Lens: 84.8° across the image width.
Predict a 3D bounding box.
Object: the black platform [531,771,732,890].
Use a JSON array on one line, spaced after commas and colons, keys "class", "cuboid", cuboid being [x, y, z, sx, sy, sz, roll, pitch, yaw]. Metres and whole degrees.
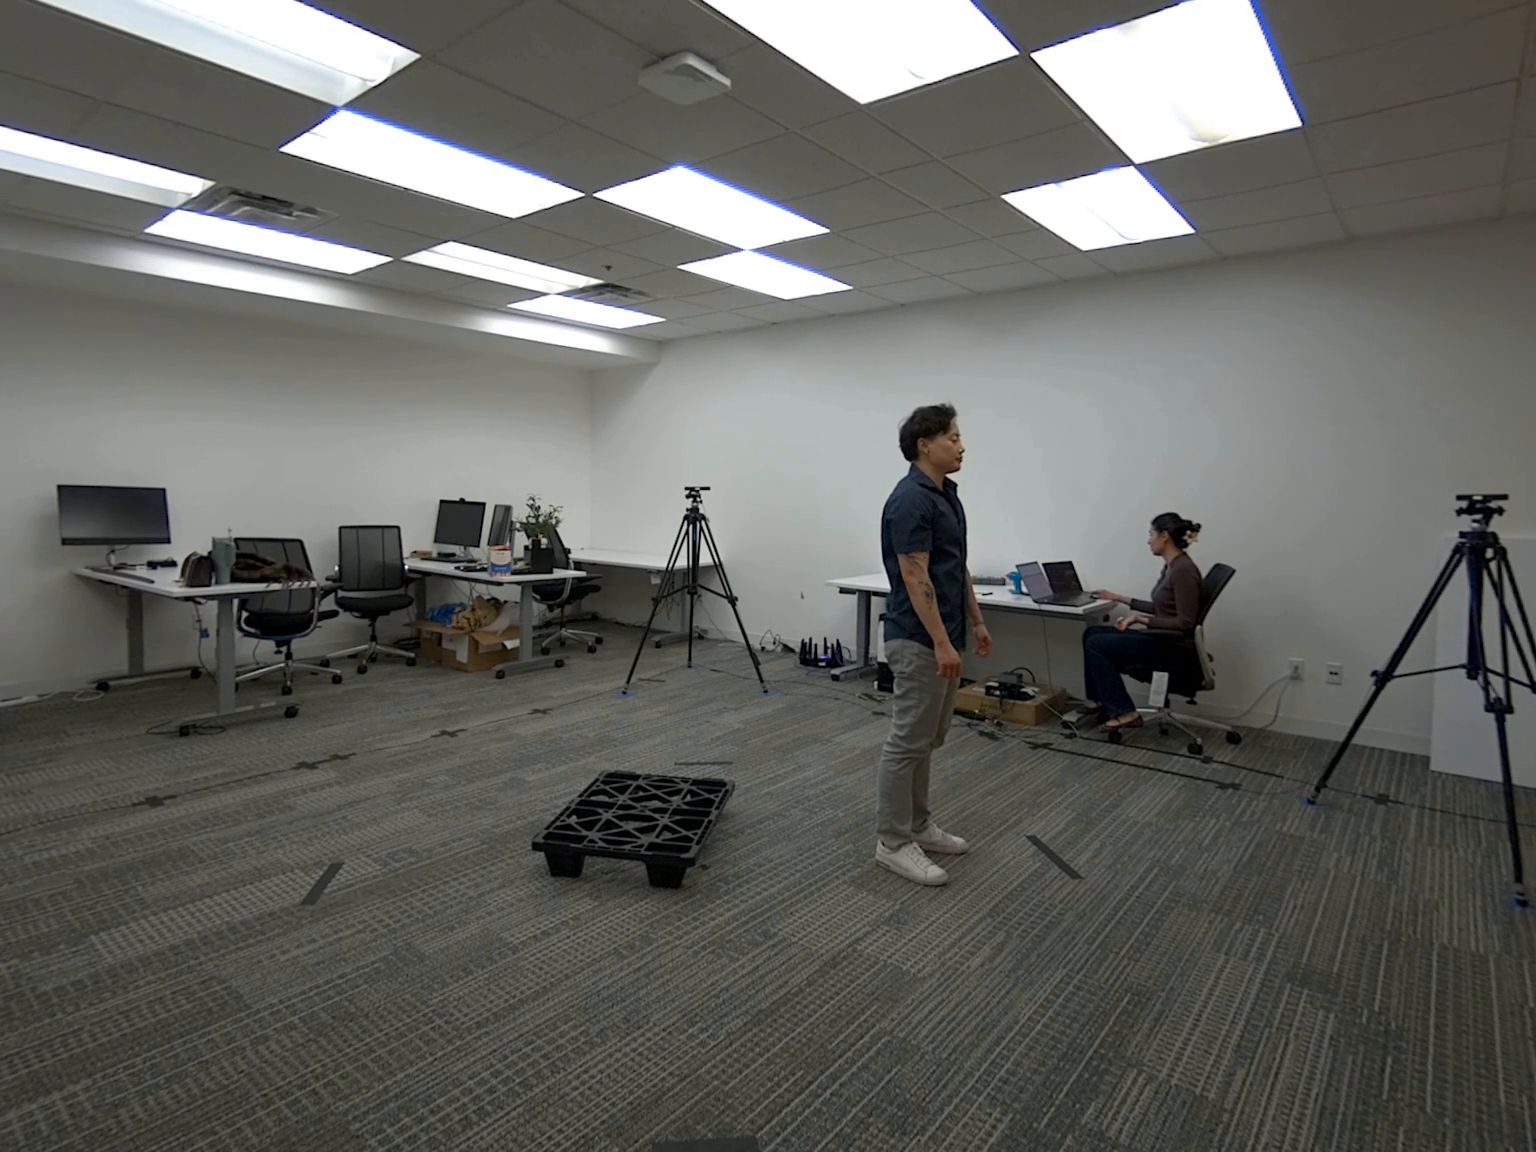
[{"class": "black platform", "cuboid": [-0.503, 0.972, 3.334, 0.612, 0.143, 0.800, 1, 5, 9]}]
